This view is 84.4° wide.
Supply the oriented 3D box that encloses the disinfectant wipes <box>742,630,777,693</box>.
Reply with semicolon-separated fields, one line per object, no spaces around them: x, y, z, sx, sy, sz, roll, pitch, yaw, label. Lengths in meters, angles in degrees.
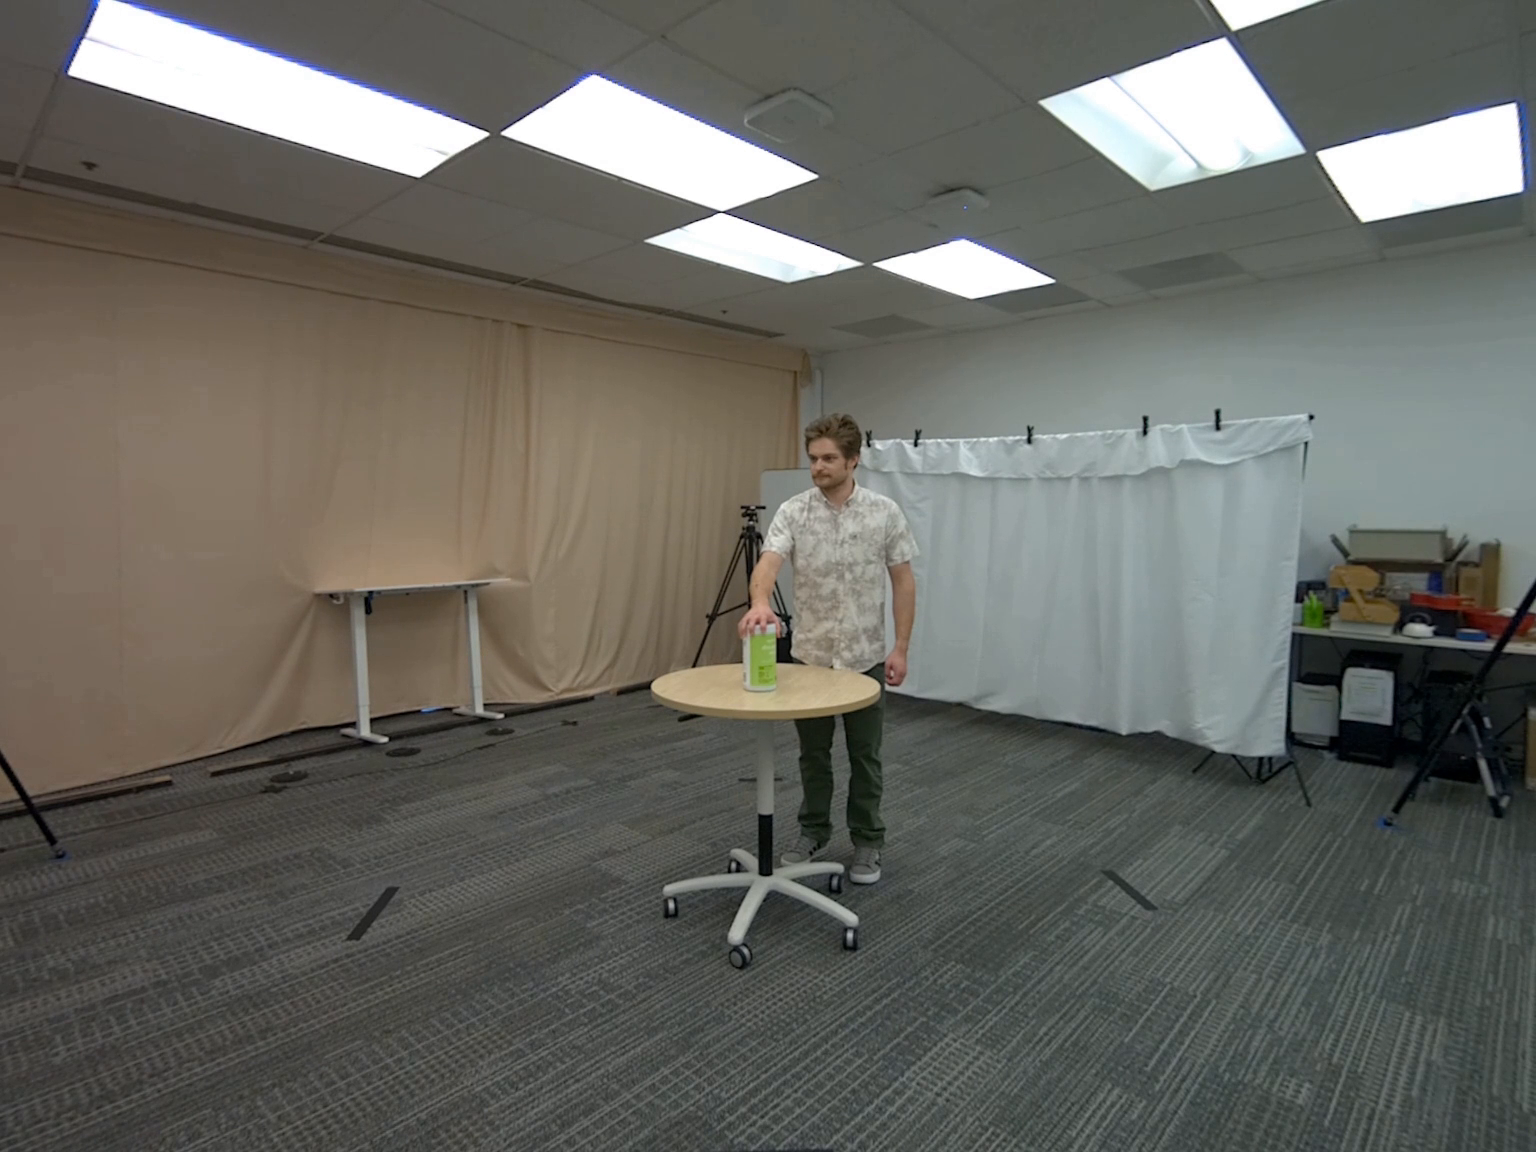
-0.028;0.264;2.753;0.118;0.217;0.118;1;2;-2;disinfectant wipes
